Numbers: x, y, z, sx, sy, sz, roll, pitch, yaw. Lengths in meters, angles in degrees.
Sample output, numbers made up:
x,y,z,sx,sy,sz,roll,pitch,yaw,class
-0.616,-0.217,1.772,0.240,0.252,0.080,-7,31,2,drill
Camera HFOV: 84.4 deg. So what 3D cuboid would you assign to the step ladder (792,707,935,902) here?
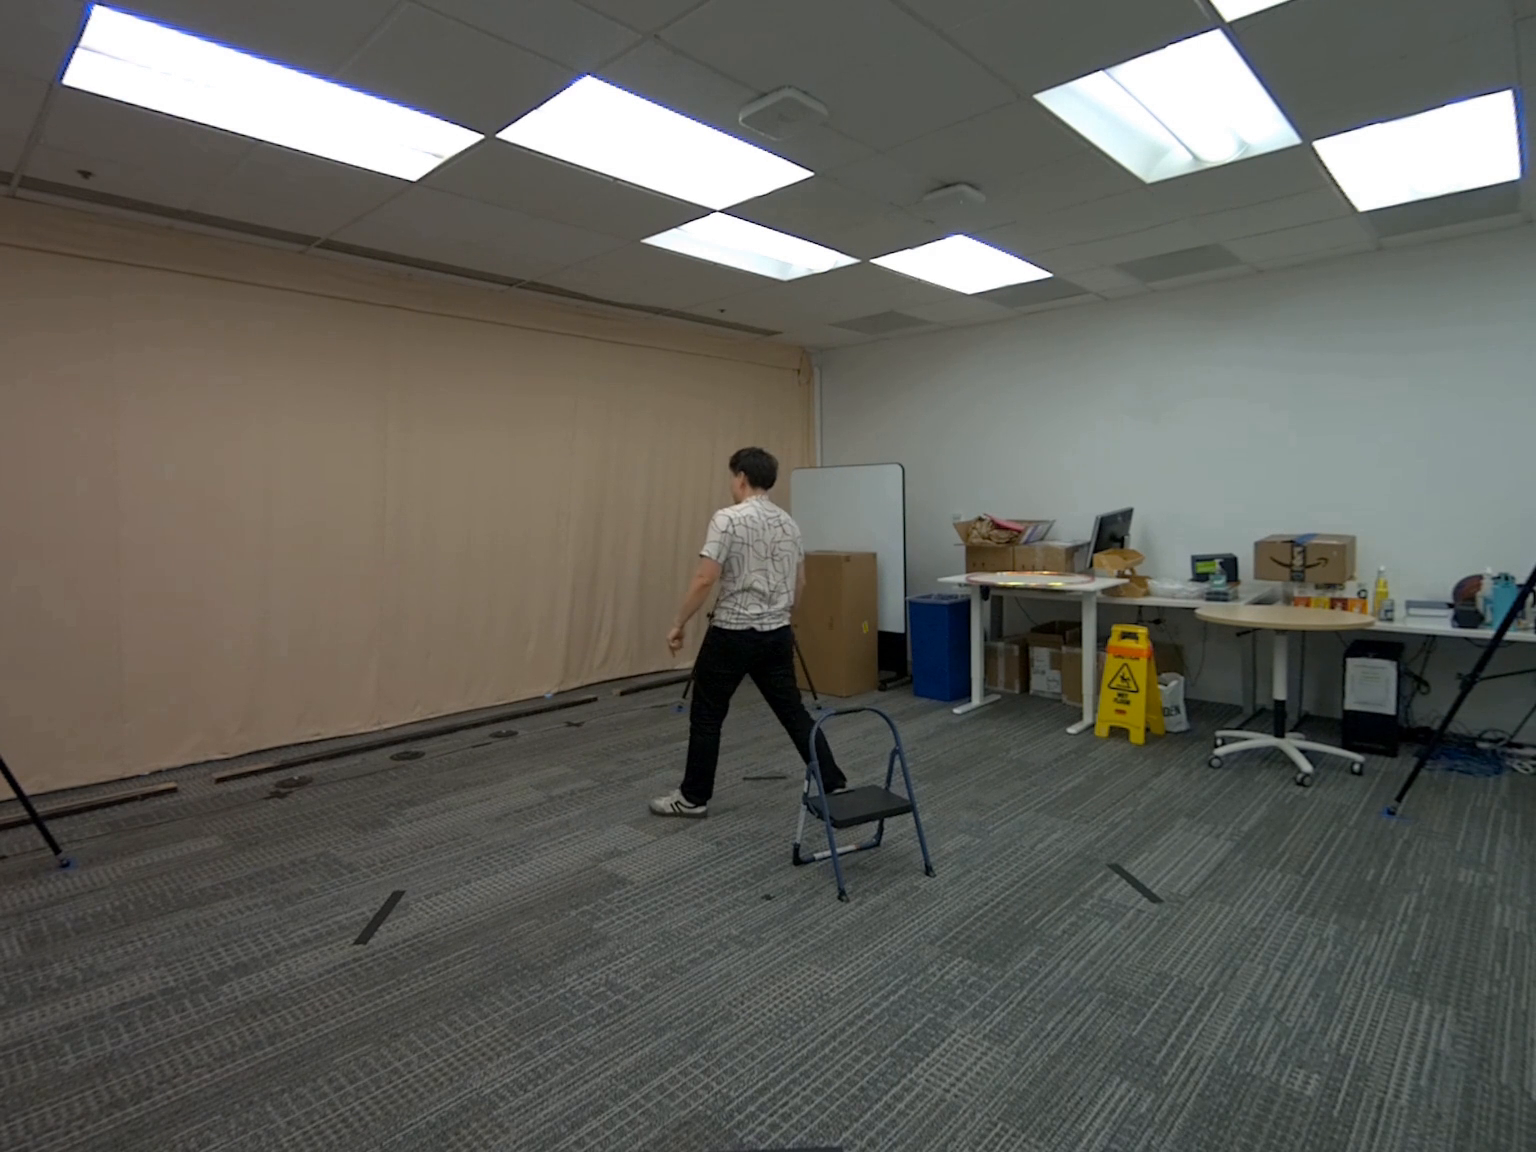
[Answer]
x,y,z,sx,sy,sz,roll,pitch,yaw,class
0.357,0.812,3.173,0.419,0.605,0.359,-2,4,-29,step ladder
